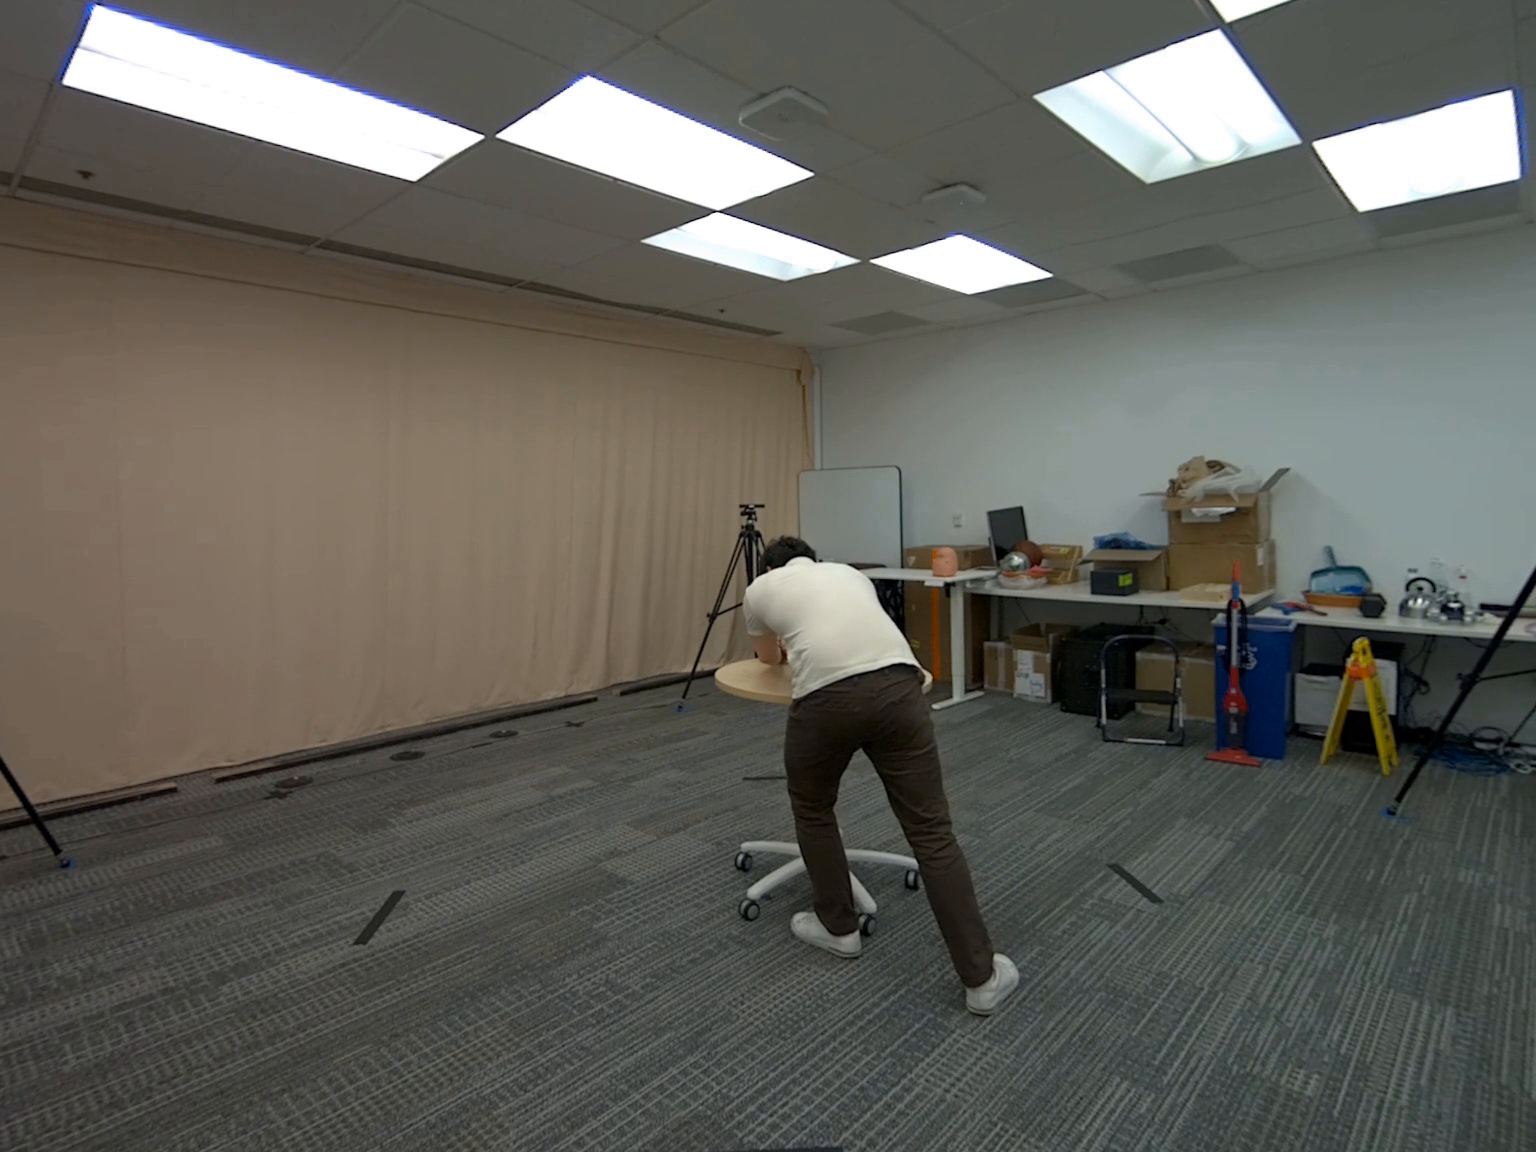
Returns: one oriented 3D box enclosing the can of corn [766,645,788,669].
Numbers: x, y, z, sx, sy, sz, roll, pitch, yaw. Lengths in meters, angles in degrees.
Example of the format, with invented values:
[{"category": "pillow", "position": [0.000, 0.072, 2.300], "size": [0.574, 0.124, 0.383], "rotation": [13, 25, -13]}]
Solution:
[{"category": "can of corn", "position": [0.033, 0.289, 3.253], "size": [0.074, 0.110, 0.075], "rotation": [0, 17, -2]}]
